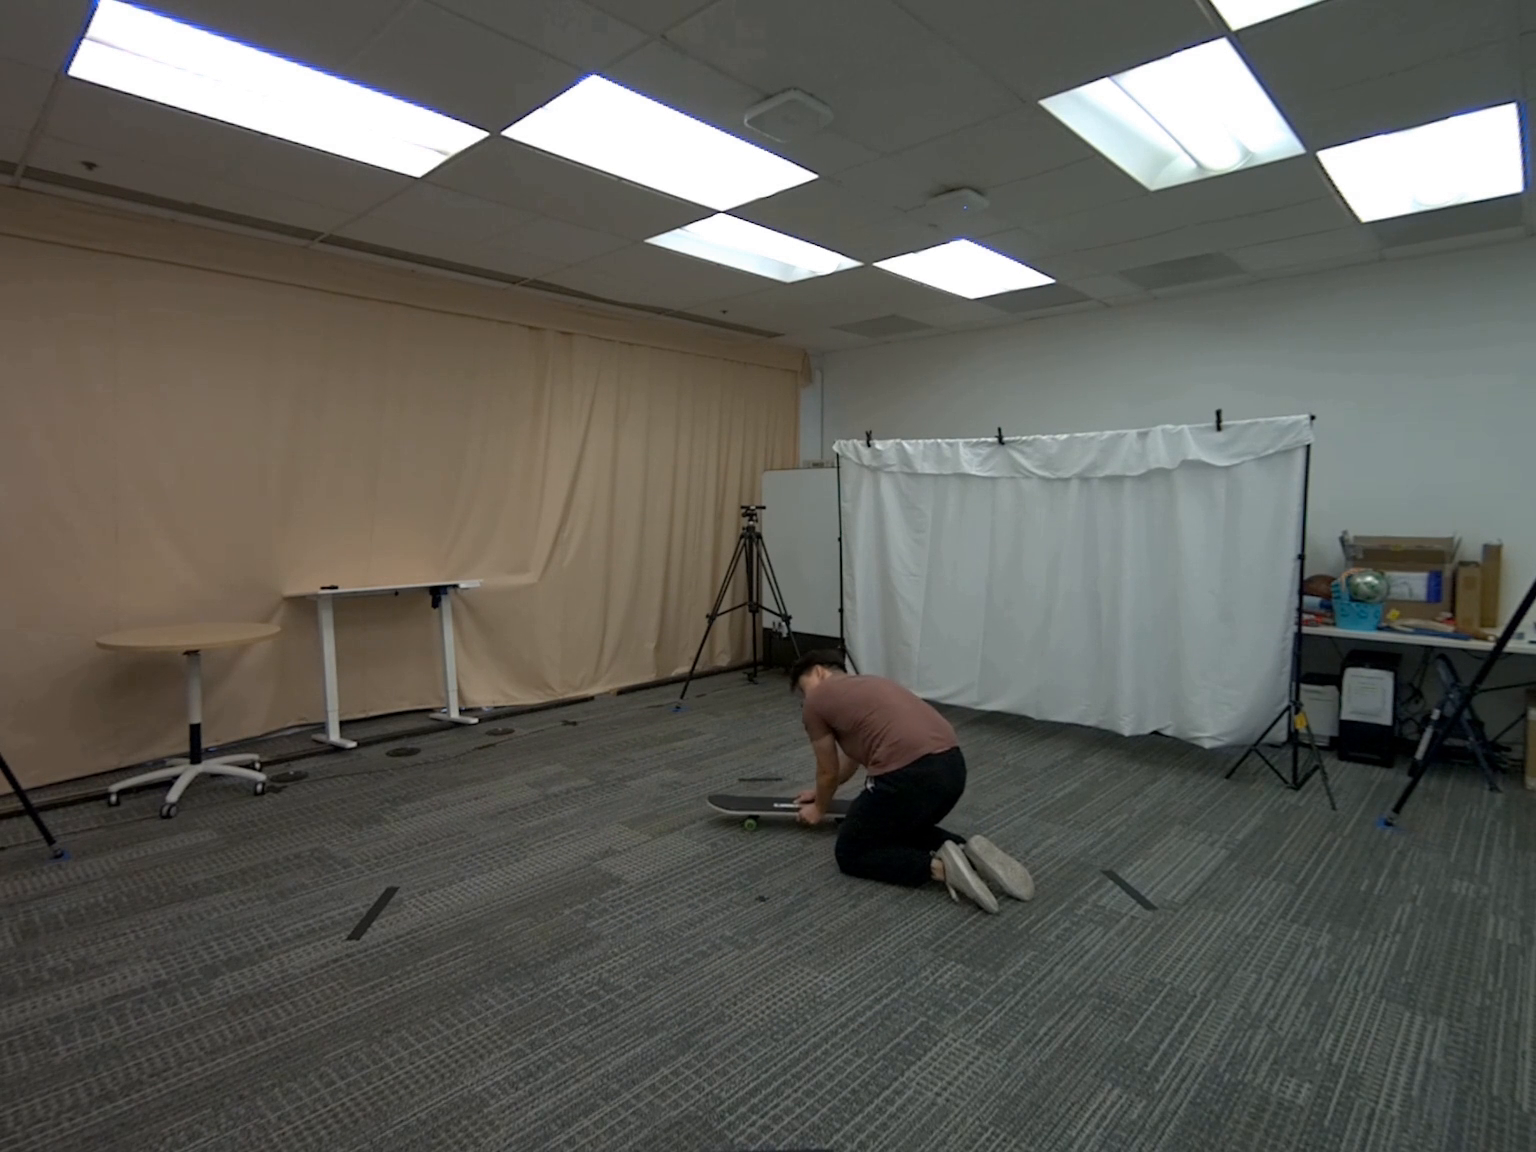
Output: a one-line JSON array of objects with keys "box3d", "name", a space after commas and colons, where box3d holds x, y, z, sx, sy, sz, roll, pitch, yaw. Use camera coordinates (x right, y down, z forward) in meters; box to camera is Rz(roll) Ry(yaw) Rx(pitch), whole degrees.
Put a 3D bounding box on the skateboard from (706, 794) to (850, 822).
[{"box3d": [0.119, 1.030, 3.668, 0.790, 0.110, 0.193, 0, 5, 6], "name": "skateboard"}]
